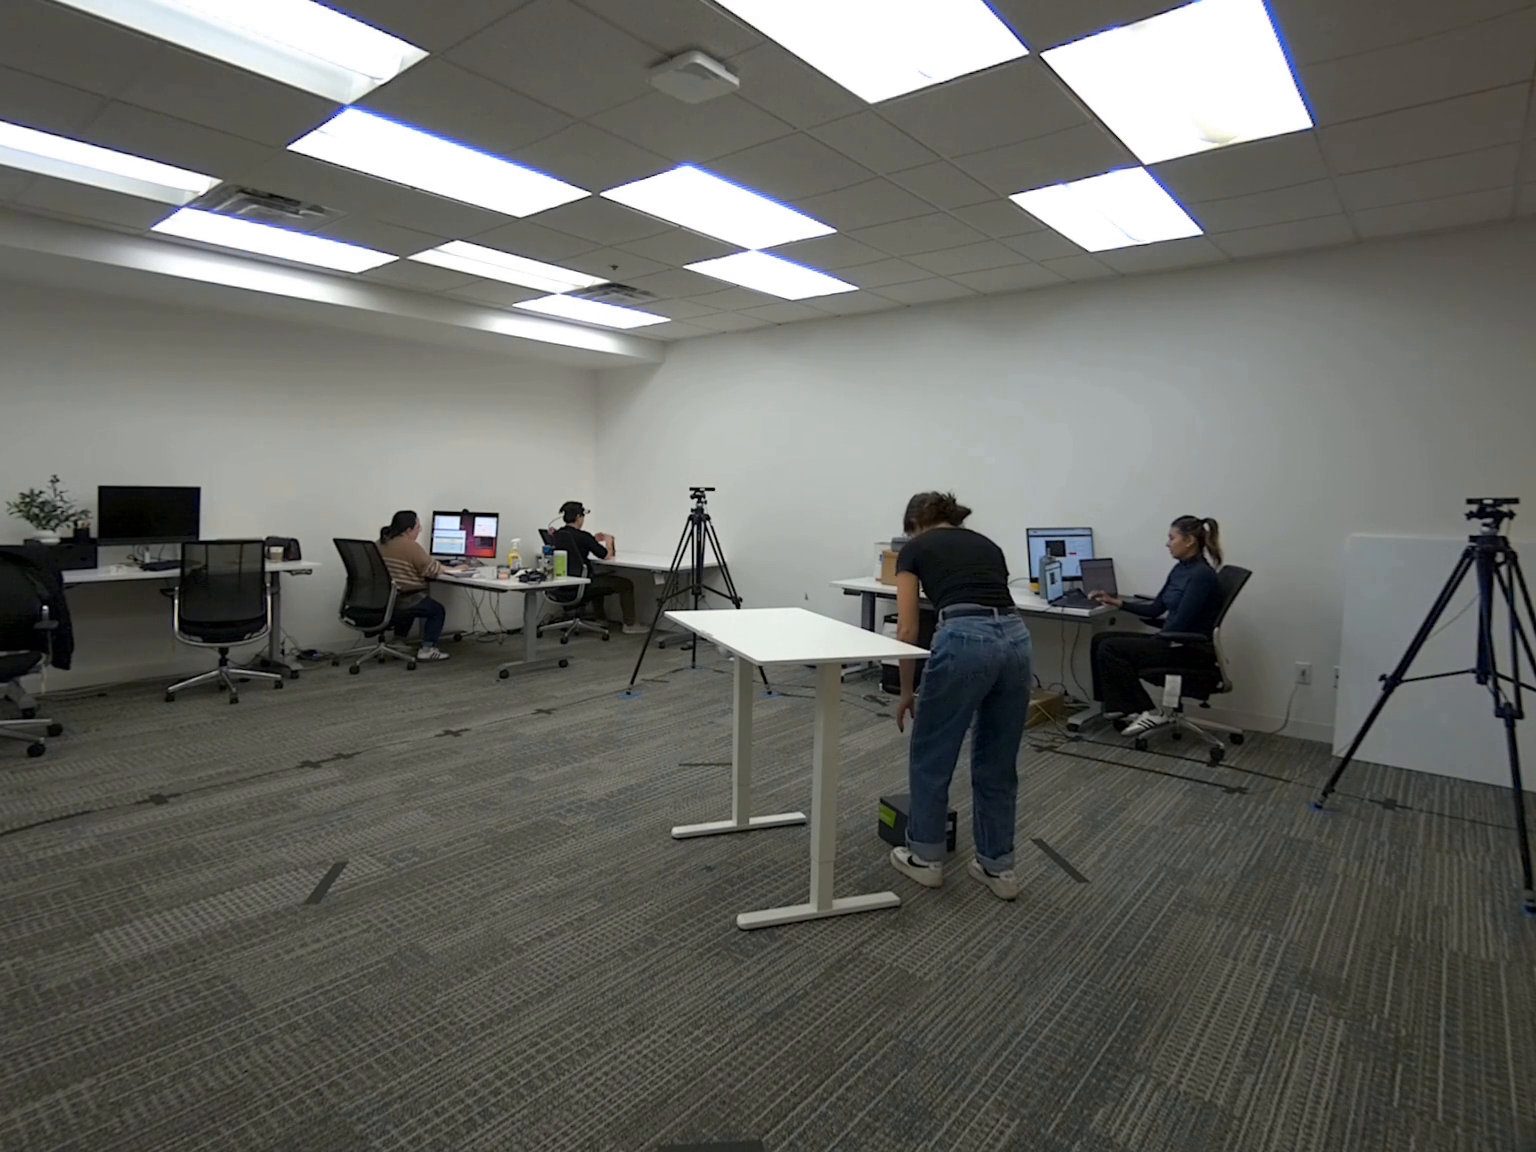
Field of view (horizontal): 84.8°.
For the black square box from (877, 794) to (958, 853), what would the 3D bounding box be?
[{"bbox_3d":[0.585,0.975,3.376,0.212,0.155,0.234,-1,5,-23],"label":"black square box"}]
